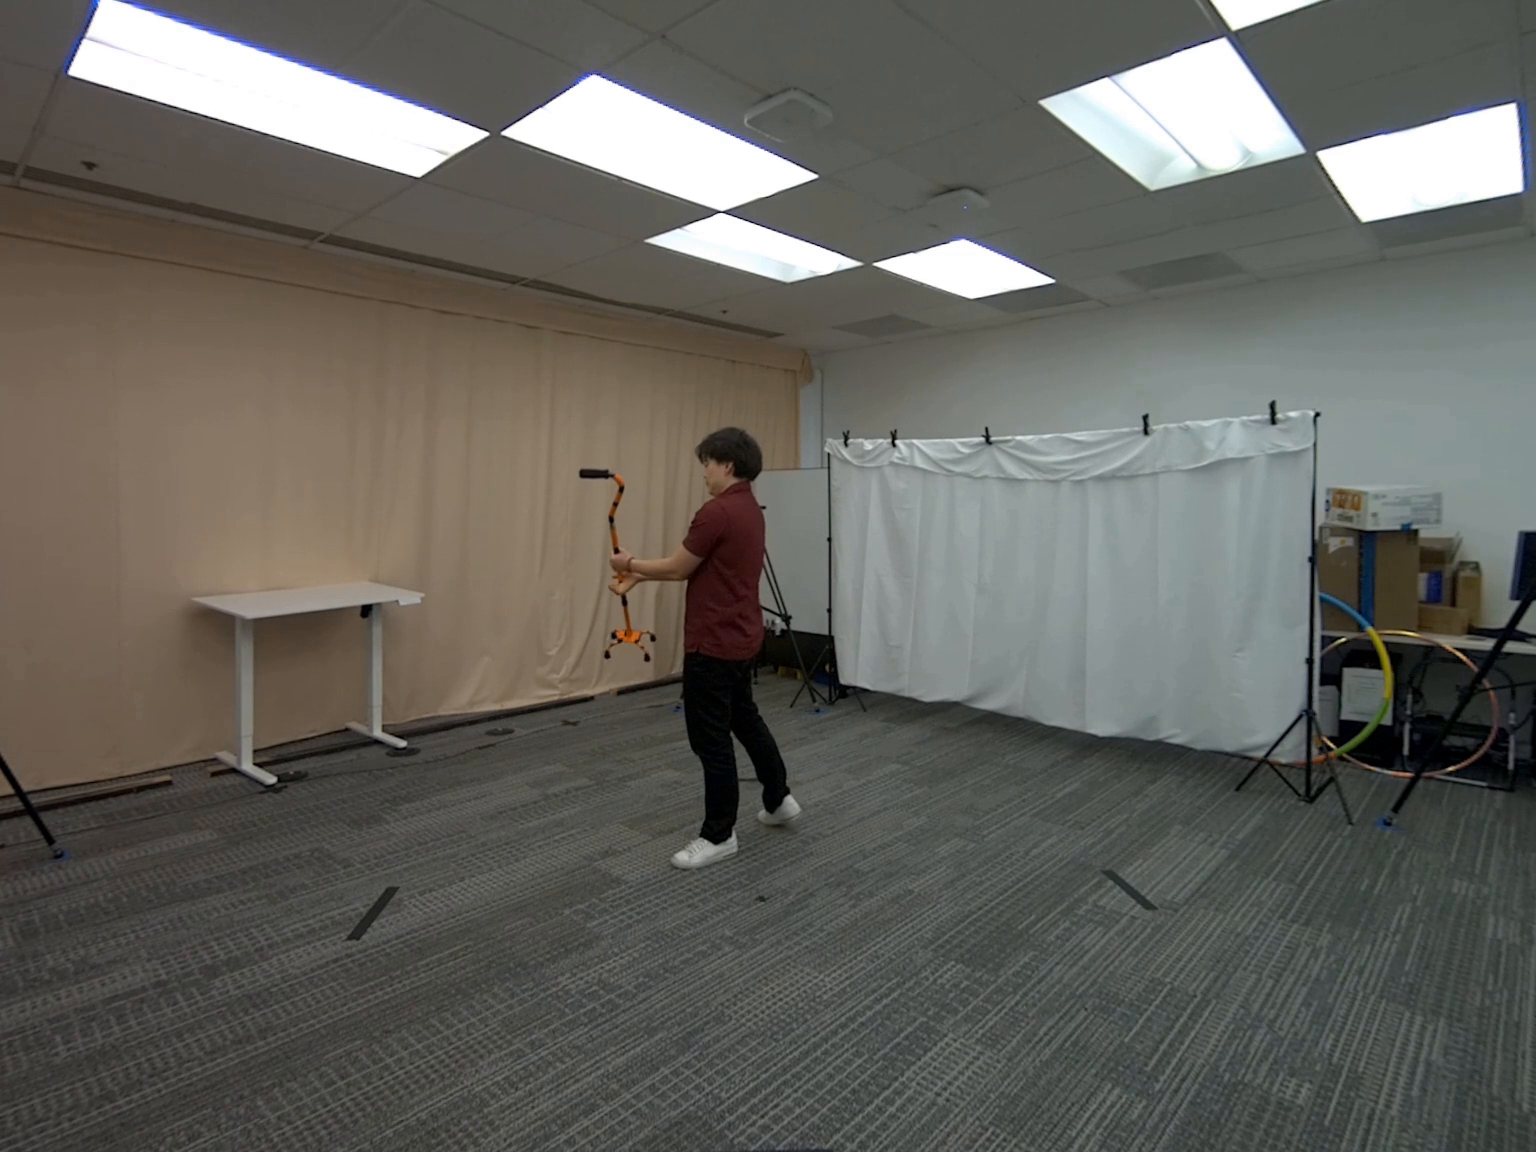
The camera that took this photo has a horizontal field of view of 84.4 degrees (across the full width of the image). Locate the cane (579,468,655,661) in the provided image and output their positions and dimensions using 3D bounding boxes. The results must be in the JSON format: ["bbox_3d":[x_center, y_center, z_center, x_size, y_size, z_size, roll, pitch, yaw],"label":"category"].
[{"bbox_3d":[-0.605,-0.034,3.409,0.208,0.891,0.153,3,38,5],"label":"cane"}]
